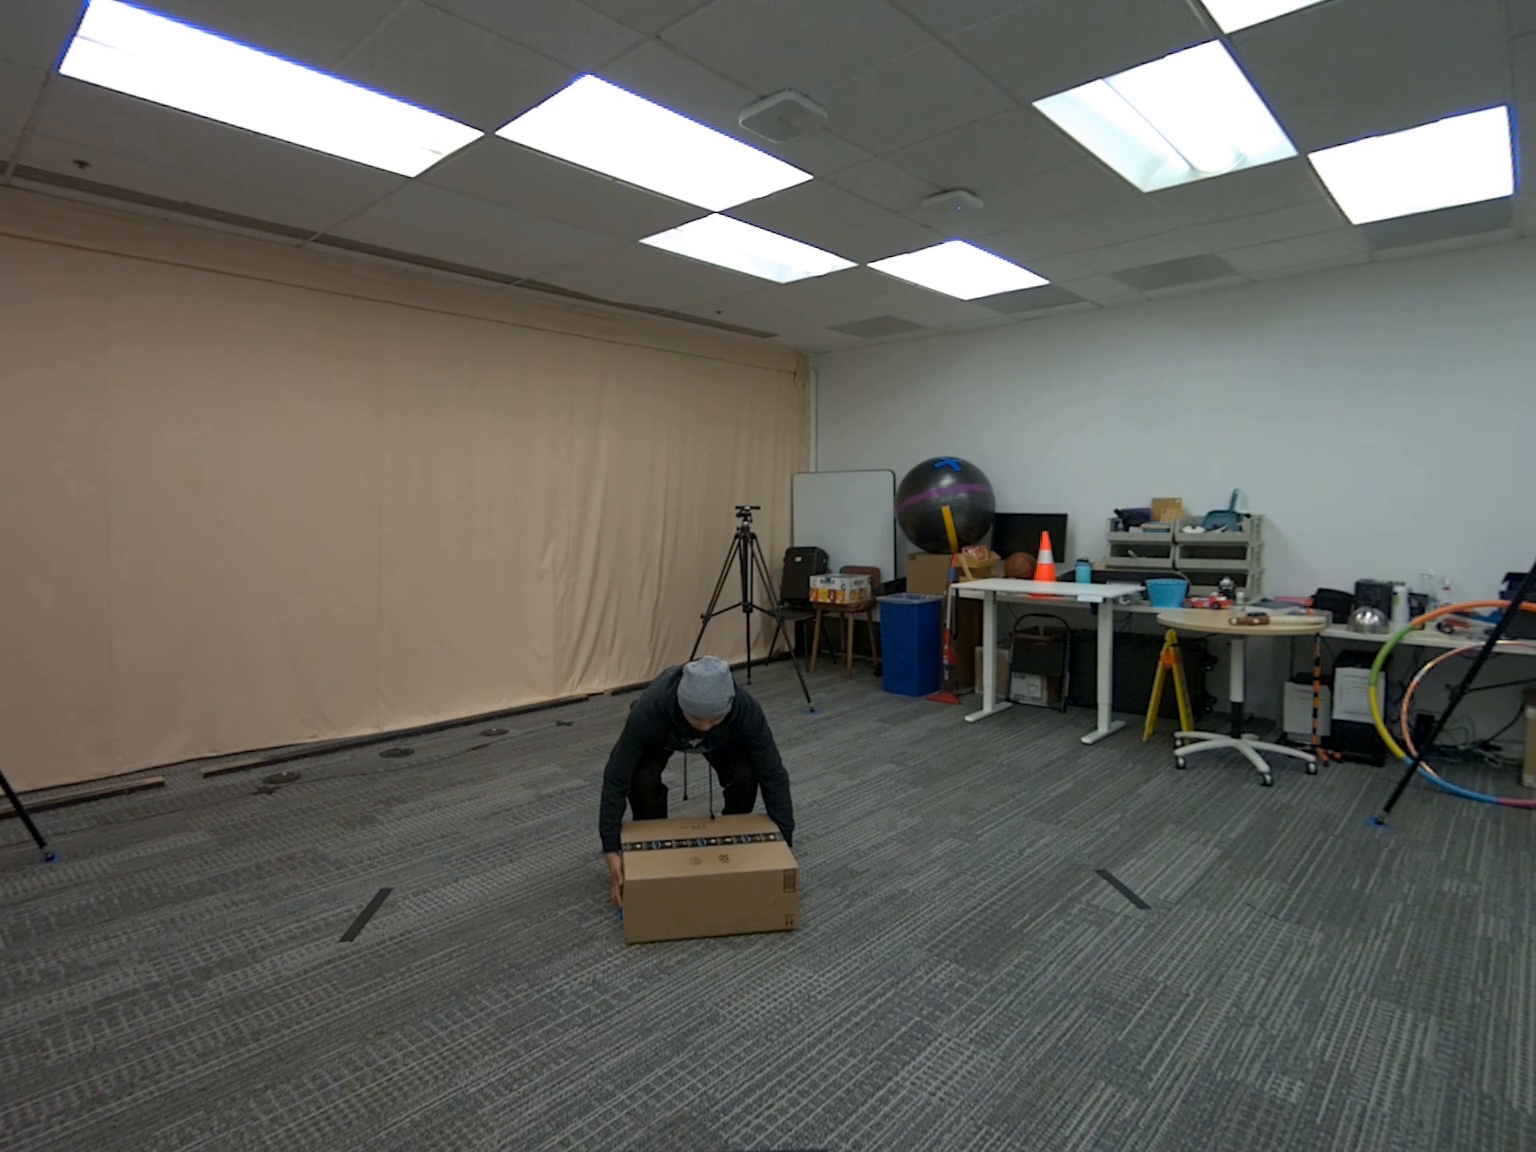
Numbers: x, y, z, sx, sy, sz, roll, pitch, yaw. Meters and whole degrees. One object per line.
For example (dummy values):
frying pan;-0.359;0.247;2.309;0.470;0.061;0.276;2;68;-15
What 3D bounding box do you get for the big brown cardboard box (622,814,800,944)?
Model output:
big brown cardboard box;-0.218;1.020;2.890;0.583;0.232;0.423;-2;8;-9
